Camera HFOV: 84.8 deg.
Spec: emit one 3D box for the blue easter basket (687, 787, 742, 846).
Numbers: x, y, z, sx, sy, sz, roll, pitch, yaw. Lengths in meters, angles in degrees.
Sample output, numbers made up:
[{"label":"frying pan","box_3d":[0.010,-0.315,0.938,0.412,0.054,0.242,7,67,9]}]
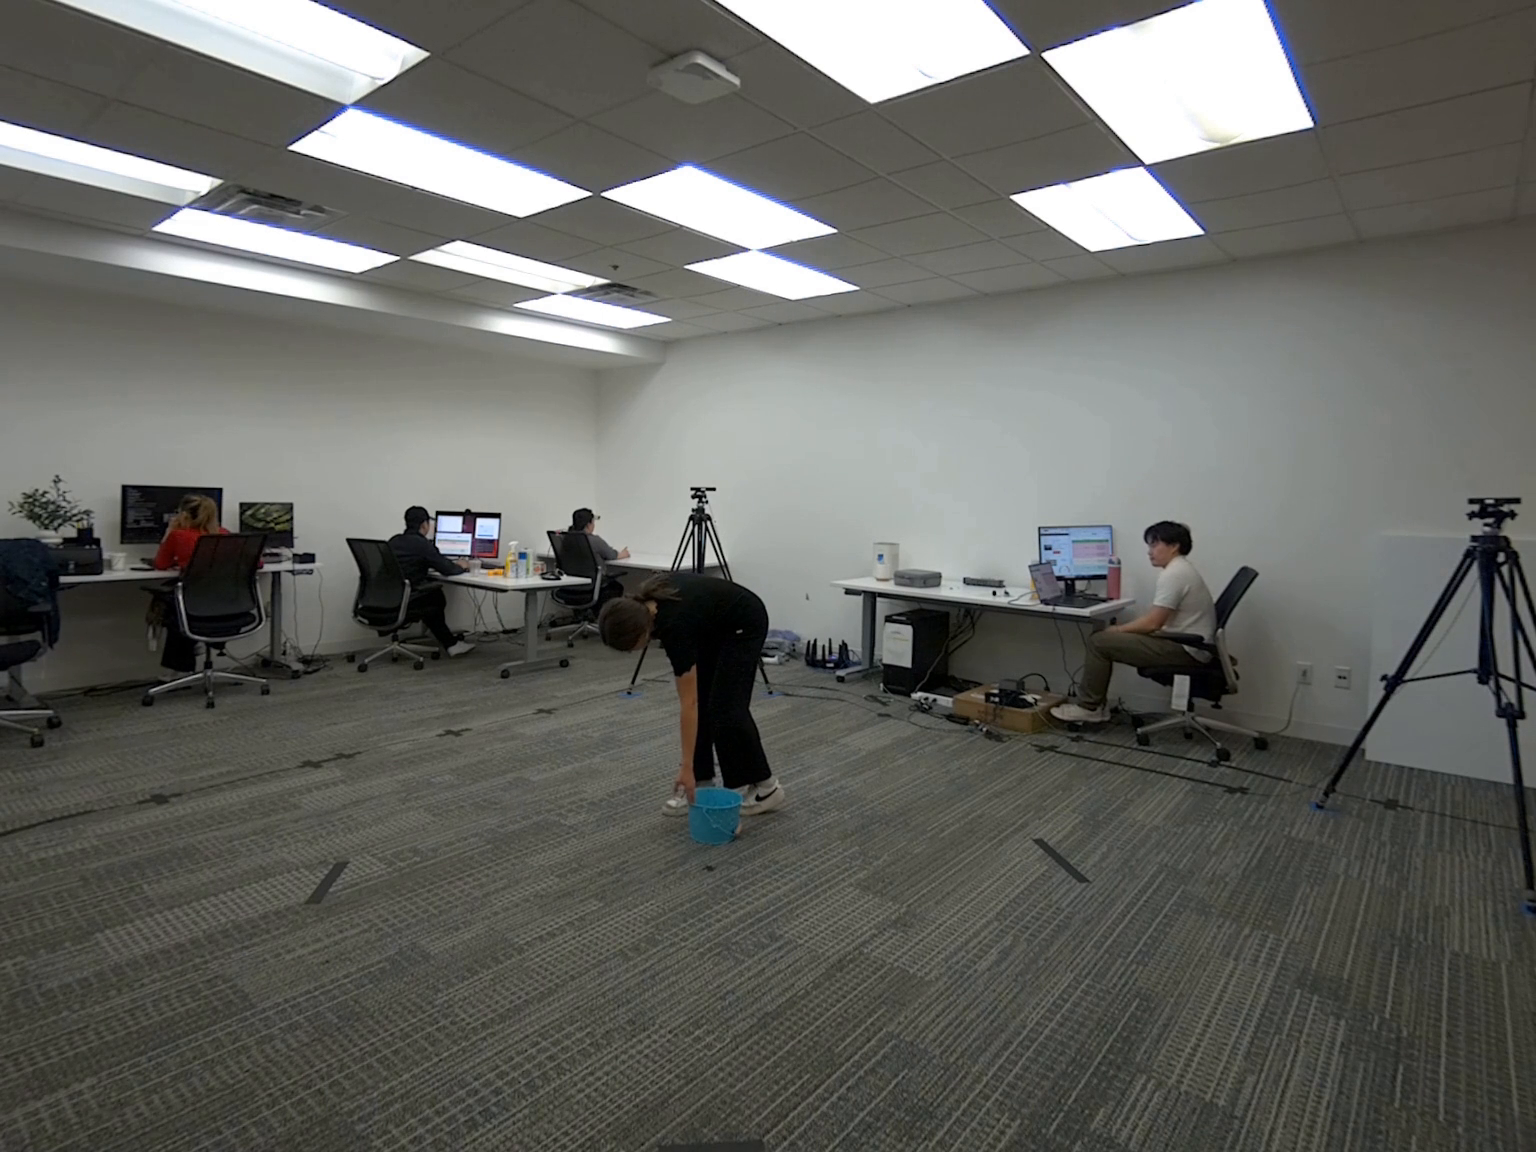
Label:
[{"label":"blue easter basket","box_3d":[-0.231,0.958,3.406,0.243,0.155,0.244,0,3,-2]}]
